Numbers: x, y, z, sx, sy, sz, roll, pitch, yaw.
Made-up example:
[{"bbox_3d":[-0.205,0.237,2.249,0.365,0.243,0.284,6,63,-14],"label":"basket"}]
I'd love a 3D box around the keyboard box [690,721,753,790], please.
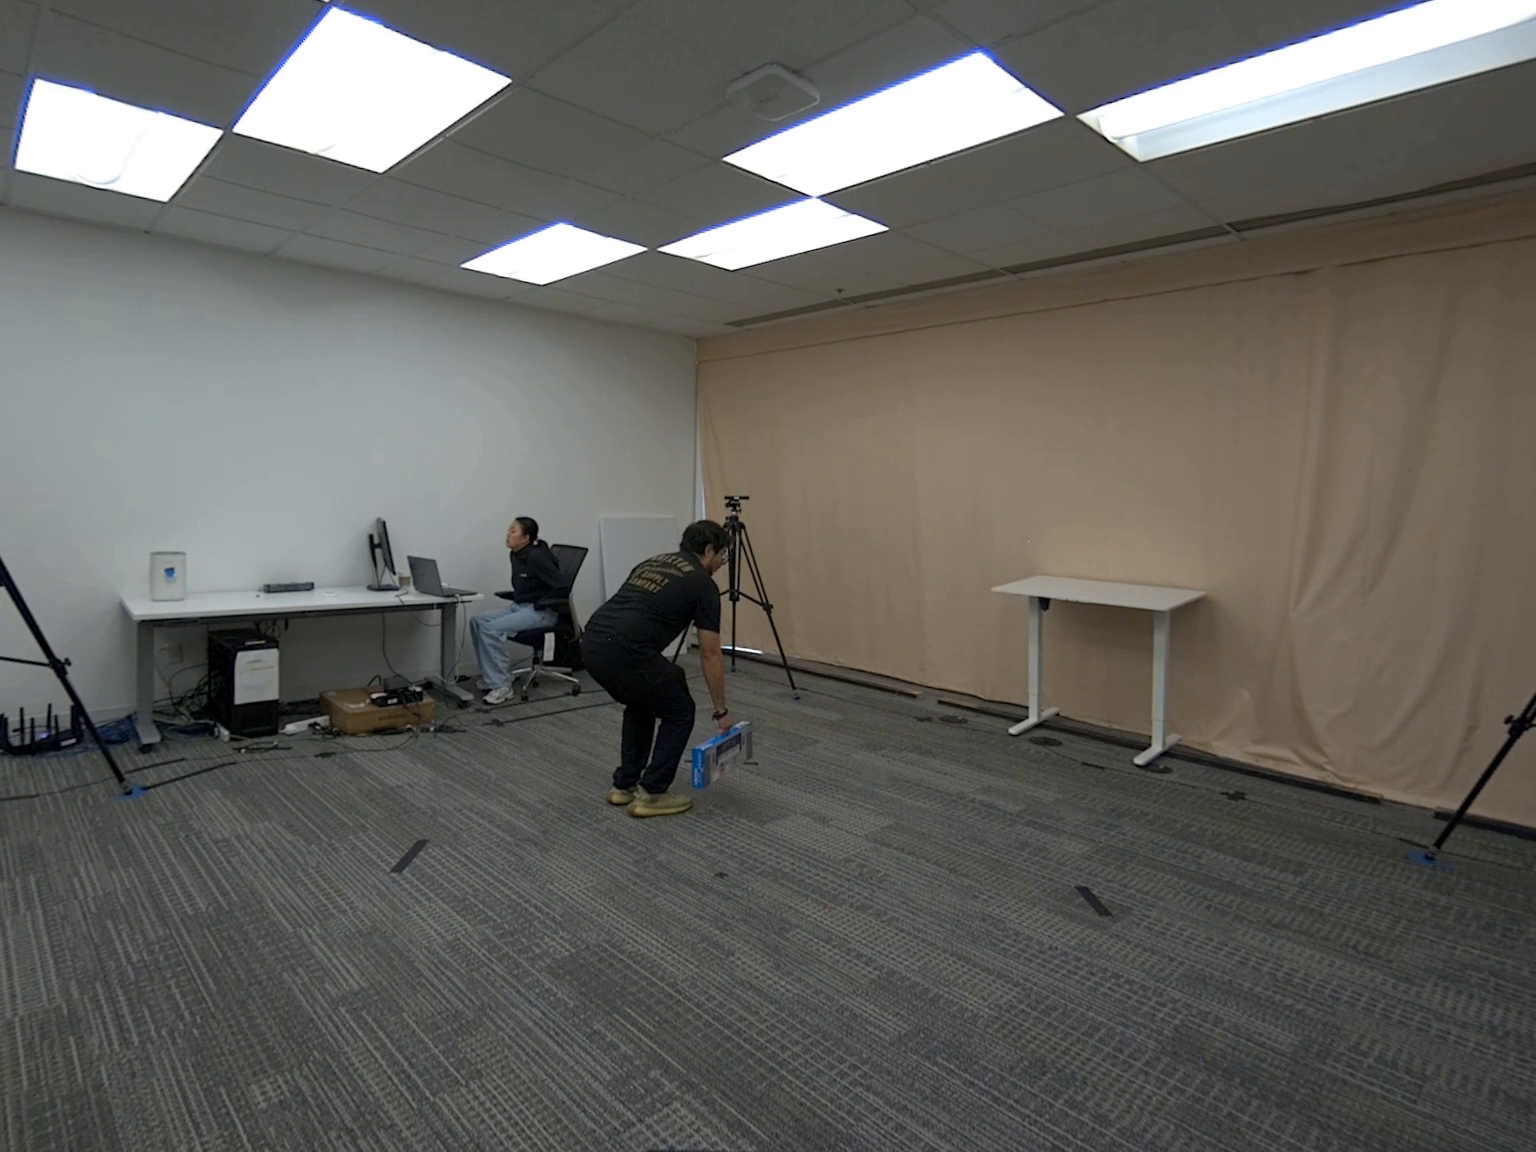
[{"bbox_3d":[-0.205,0.796,3.778,0.060,0.175,0.429,5,8,28],"label":"keyboard box"}]
